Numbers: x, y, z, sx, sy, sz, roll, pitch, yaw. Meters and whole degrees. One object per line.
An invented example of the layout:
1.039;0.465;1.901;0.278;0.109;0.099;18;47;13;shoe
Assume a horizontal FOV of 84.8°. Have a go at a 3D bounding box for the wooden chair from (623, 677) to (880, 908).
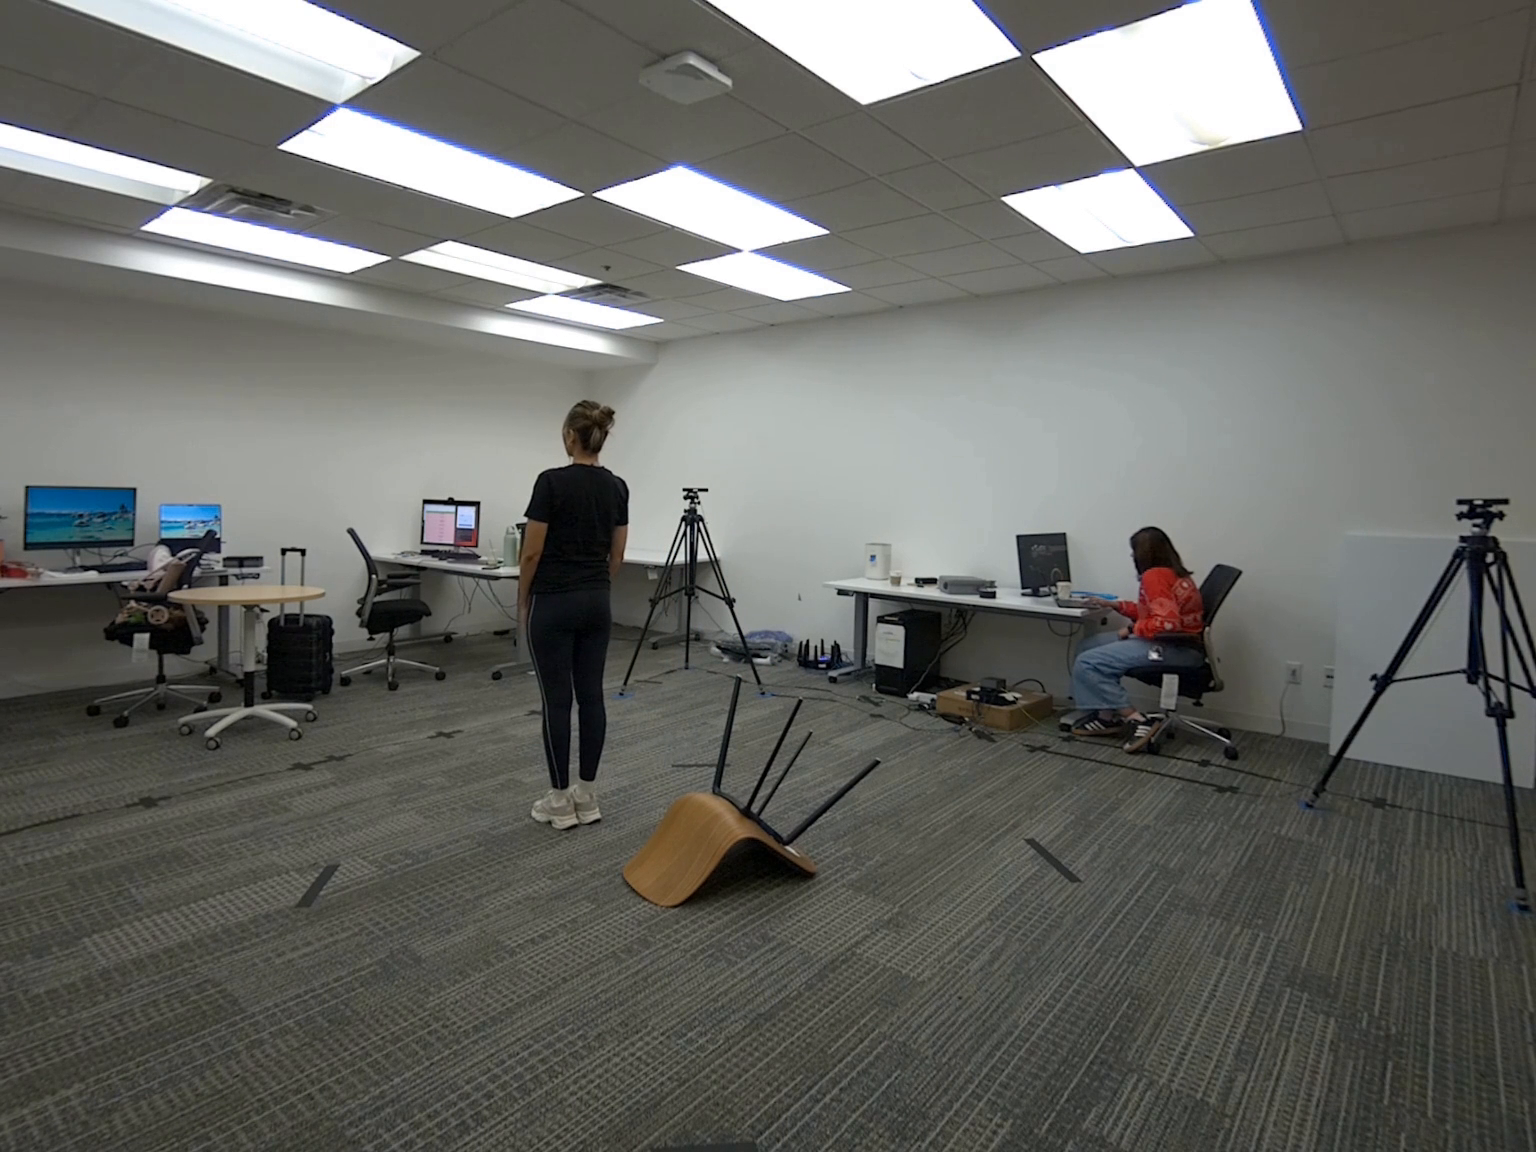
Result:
-0.073;0.894;3.161;0.507;0.879;0.492;44;-19;-26;wooden chair
